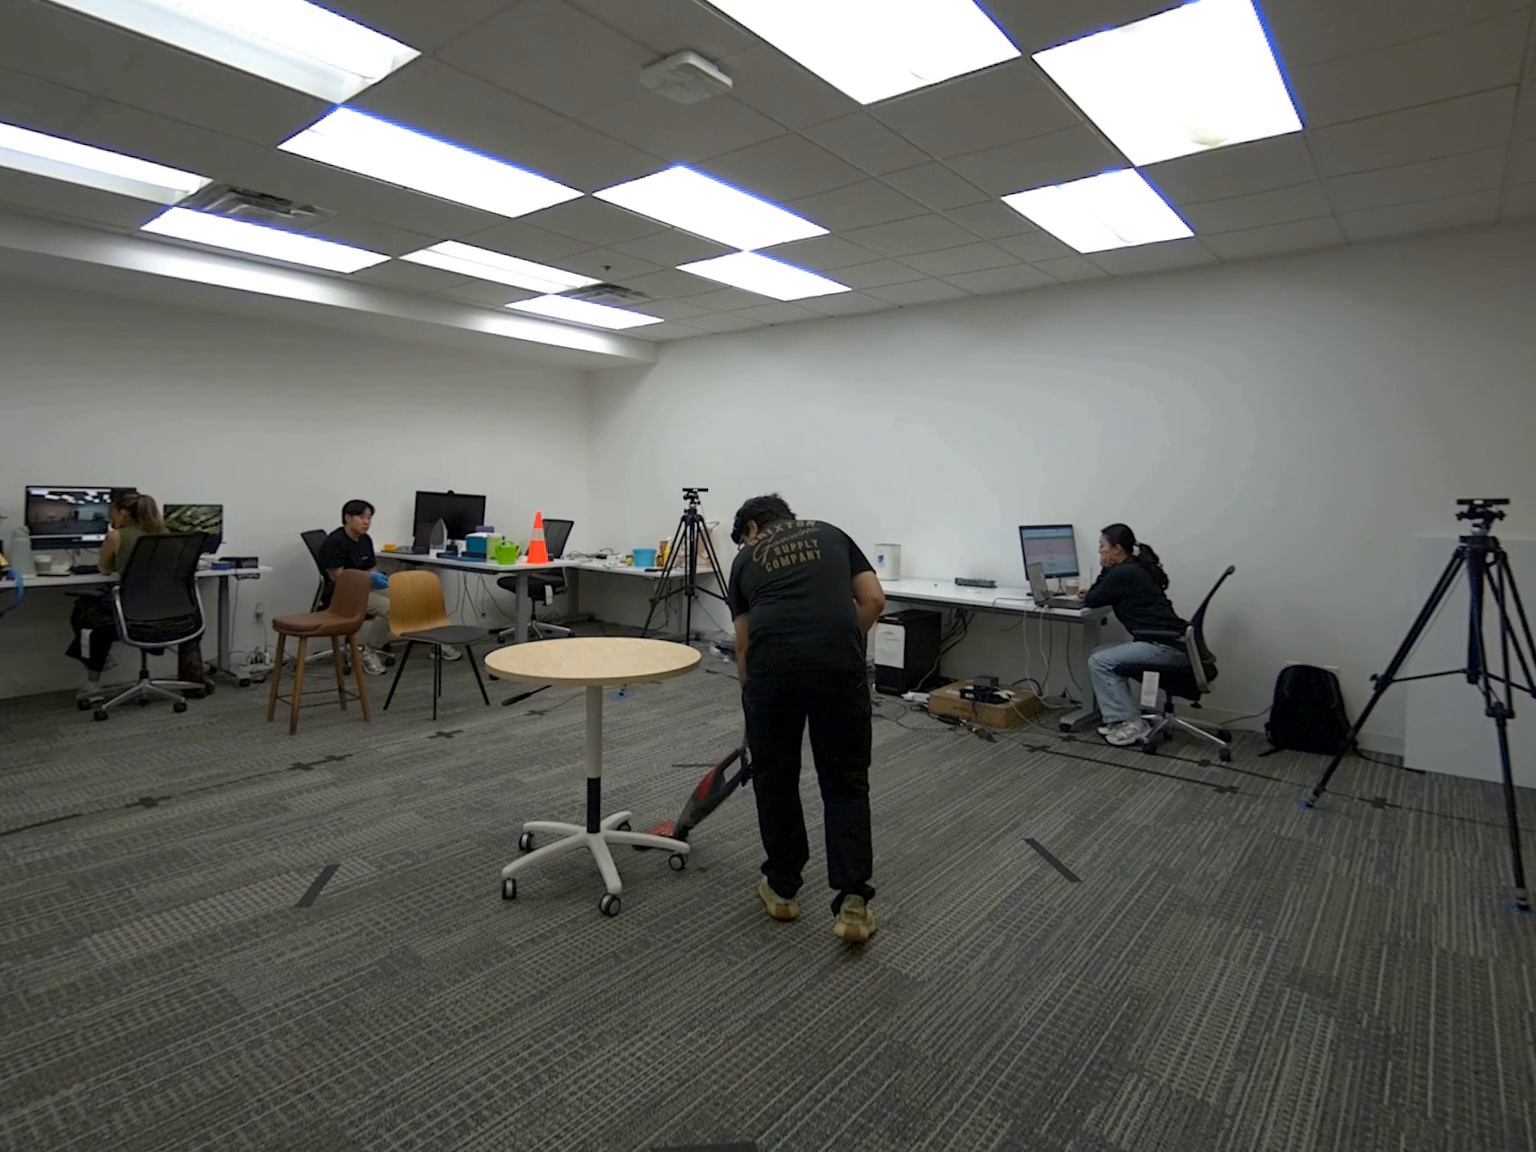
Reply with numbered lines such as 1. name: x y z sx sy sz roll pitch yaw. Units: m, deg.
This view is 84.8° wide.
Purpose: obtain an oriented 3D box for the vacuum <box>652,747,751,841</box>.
1. vacuum: -0.097 0.681 3.150 1.050 0.144 0.251 -45 -1 21
